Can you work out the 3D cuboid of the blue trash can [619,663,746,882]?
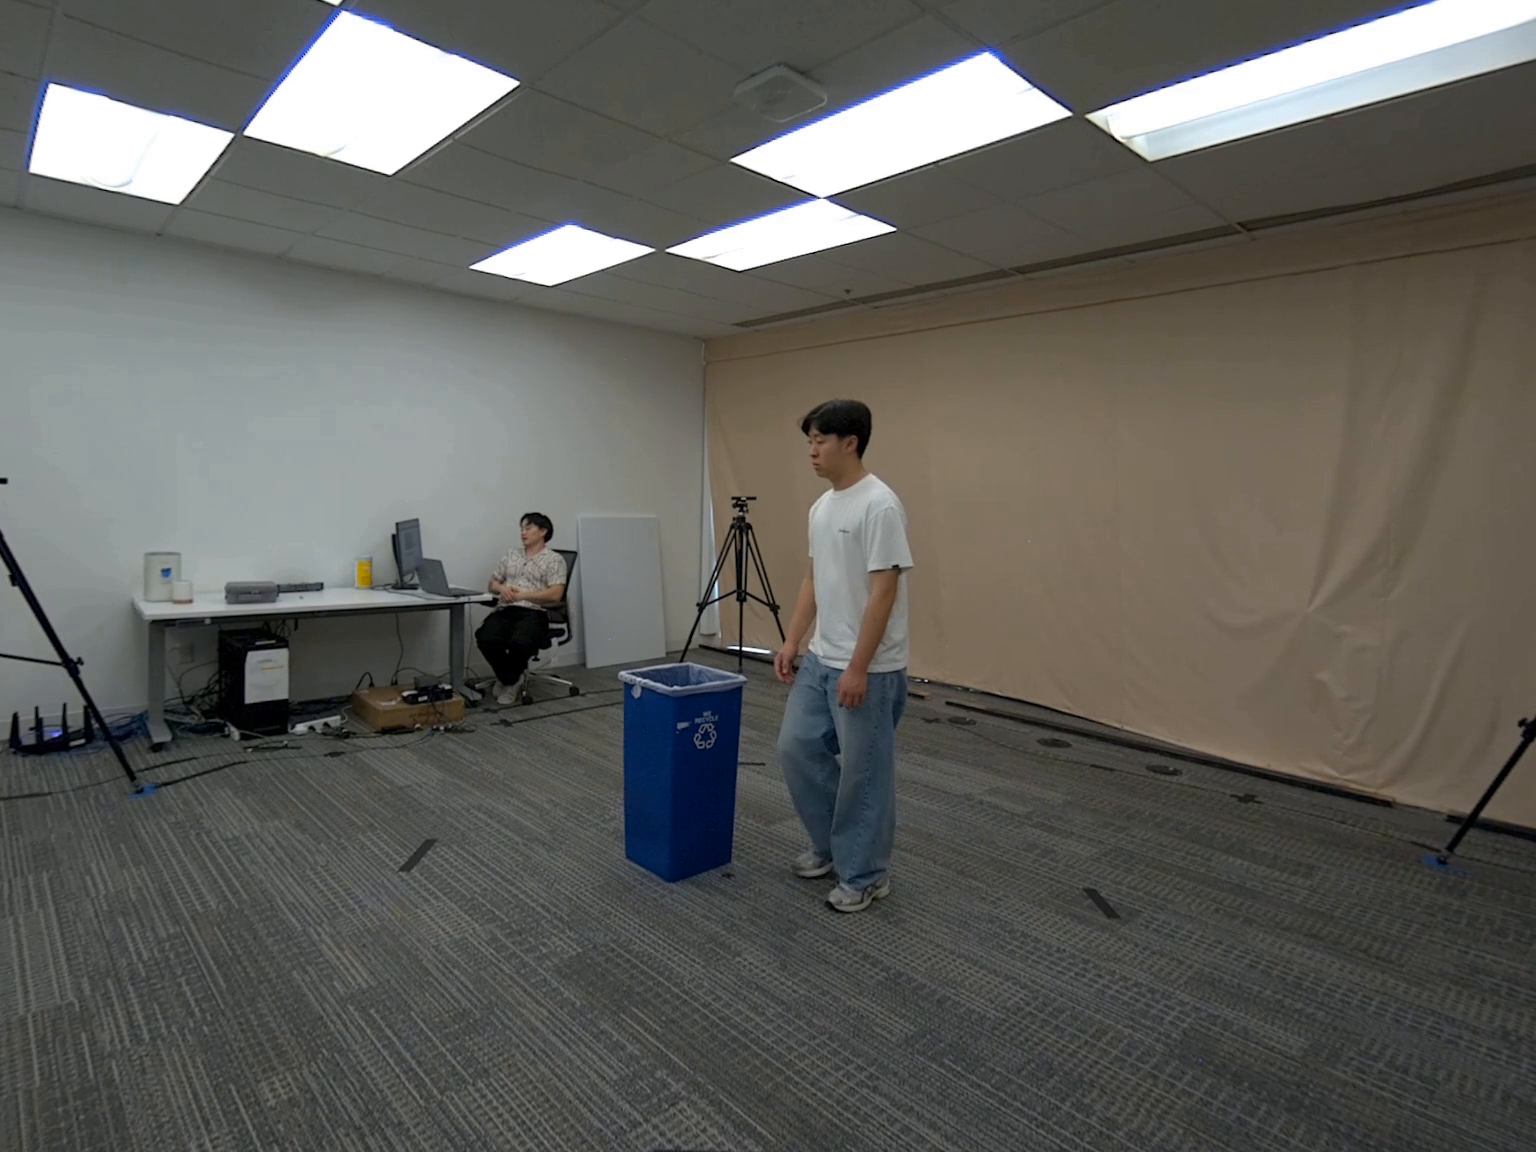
[{"bbox_3d":[-0.341,0.733,3.230,0.365,0.712,0.388,-2,5,-42],"label":"blue trash can"}]
